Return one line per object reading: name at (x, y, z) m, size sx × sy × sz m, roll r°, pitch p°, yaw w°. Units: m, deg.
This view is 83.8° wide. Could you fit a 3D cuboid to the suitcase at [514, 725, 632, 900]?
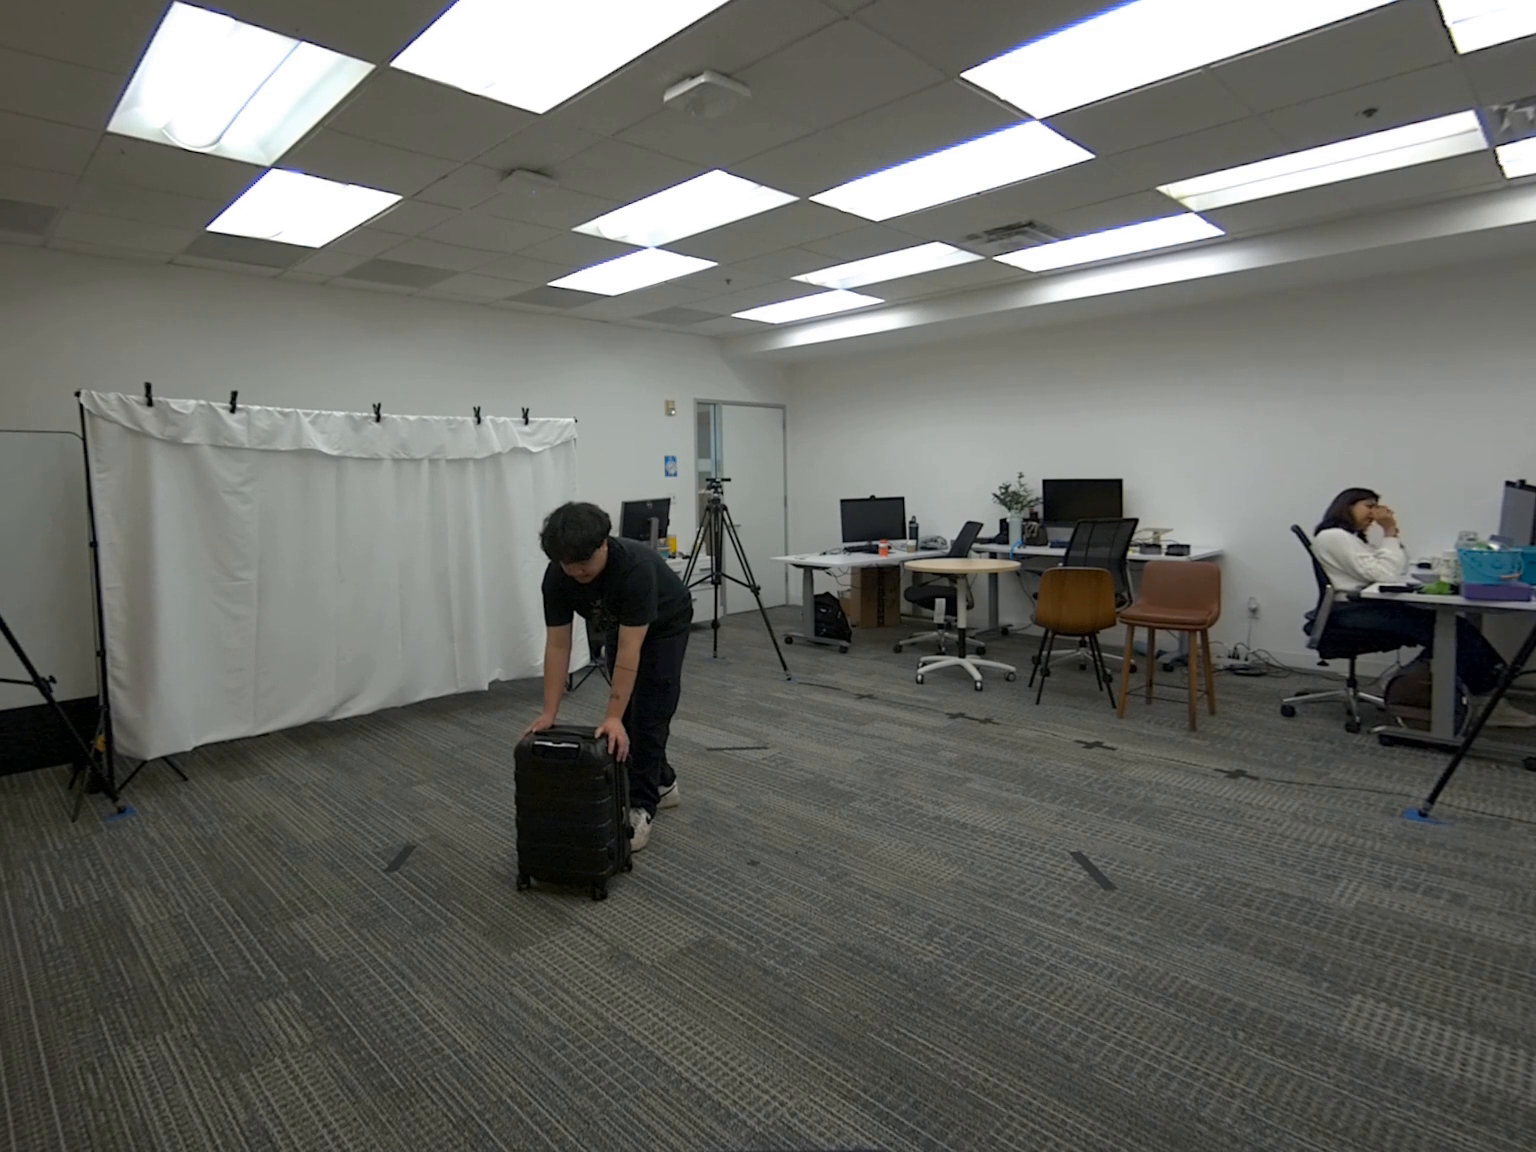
suitcase at (-0.678, 0.795, 2.967) m, size 0.381 × 0.546 × 0.246 m, roll 1°, pitch 7°, yaw 16°
